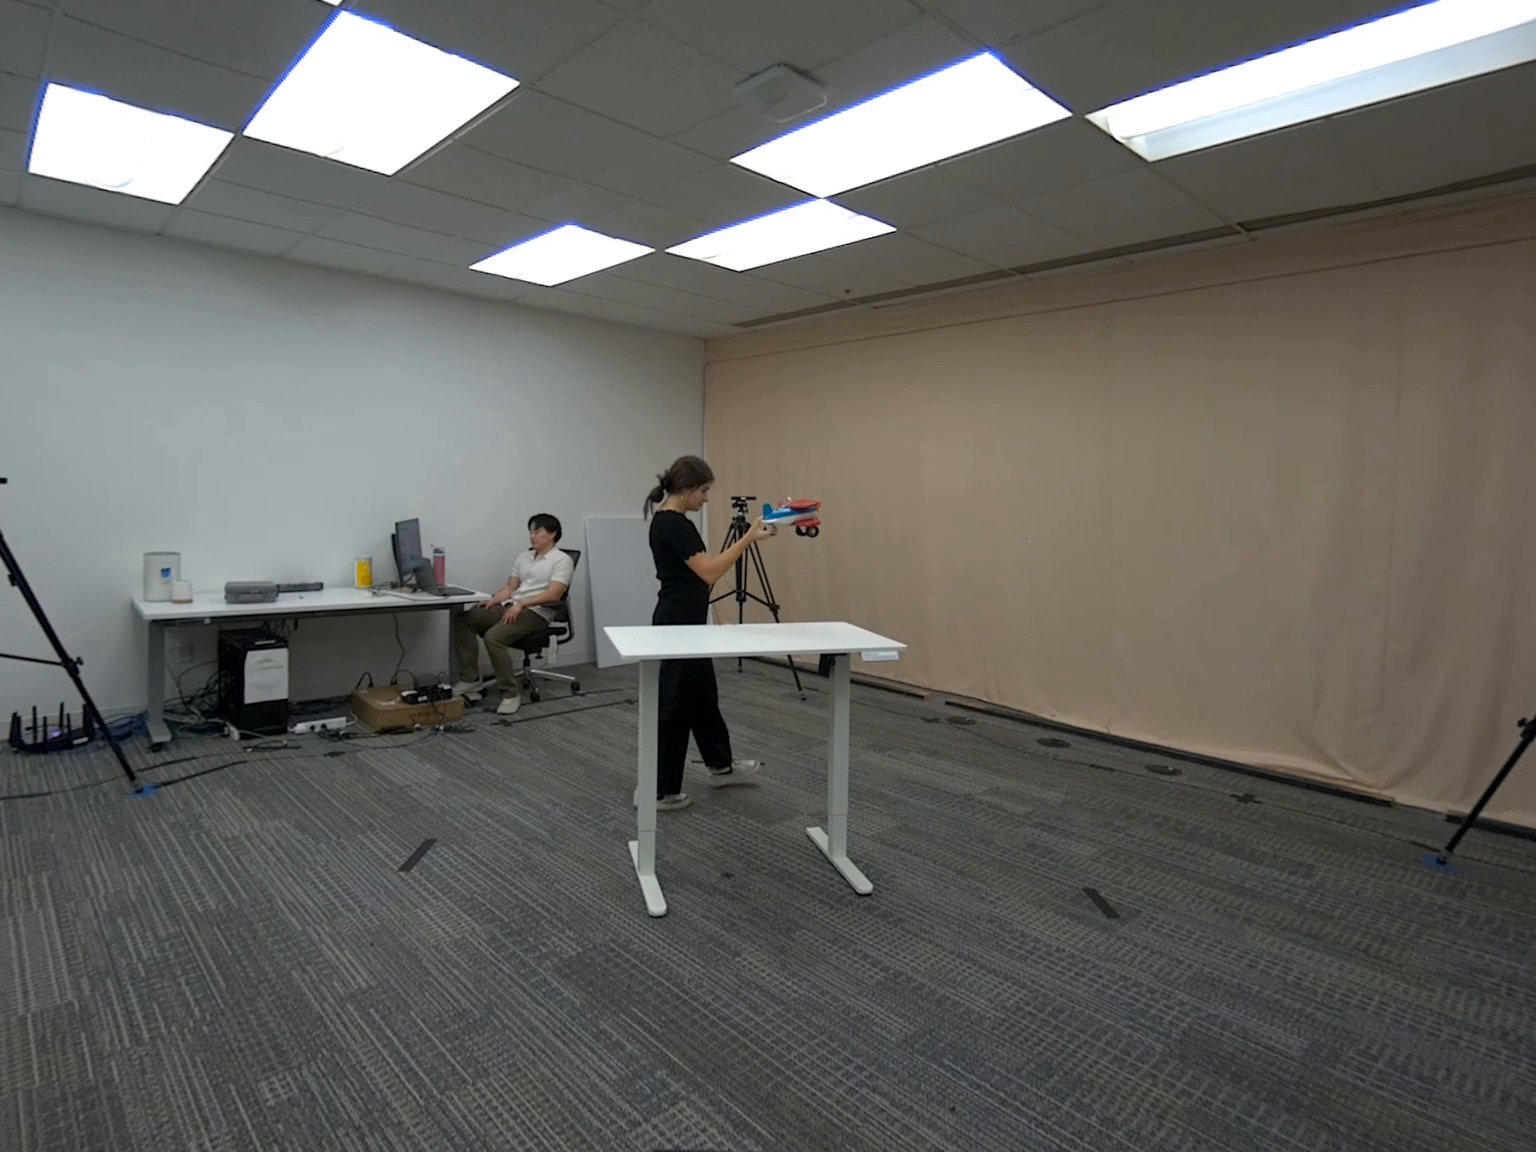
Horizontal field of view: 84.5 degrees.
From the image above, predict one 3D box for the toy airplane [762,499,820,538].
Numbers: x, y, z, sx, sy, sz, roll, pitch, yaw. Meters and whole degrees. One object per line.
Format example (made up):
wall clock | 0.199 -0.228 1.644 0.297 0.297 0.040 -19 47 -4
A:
toy airplane | 0.098 -0.242 3.503 0.257 0.156 0.253 6 3 37
